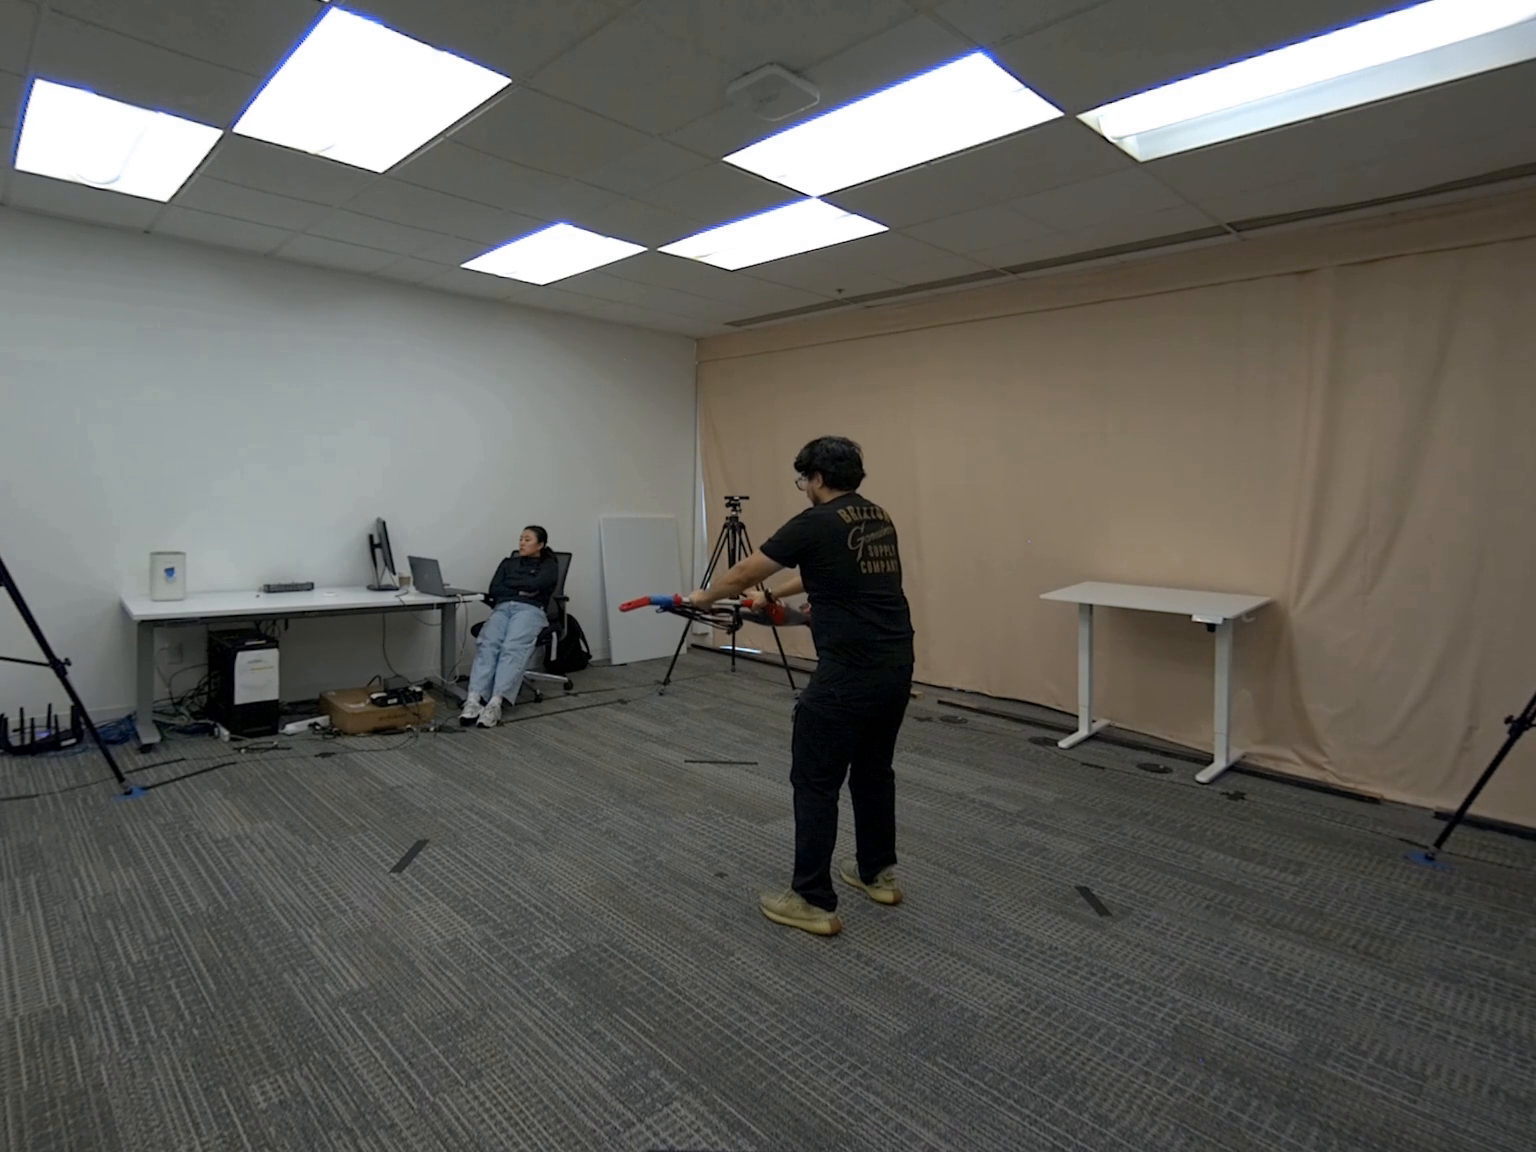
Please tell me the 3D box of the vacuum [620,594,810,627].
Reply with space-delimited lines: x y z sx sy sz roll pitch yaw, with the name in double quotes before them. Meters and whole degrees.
"vacuum" -0.133 0.136 3.256 1.022 0.143 0.260 4 42 -44
